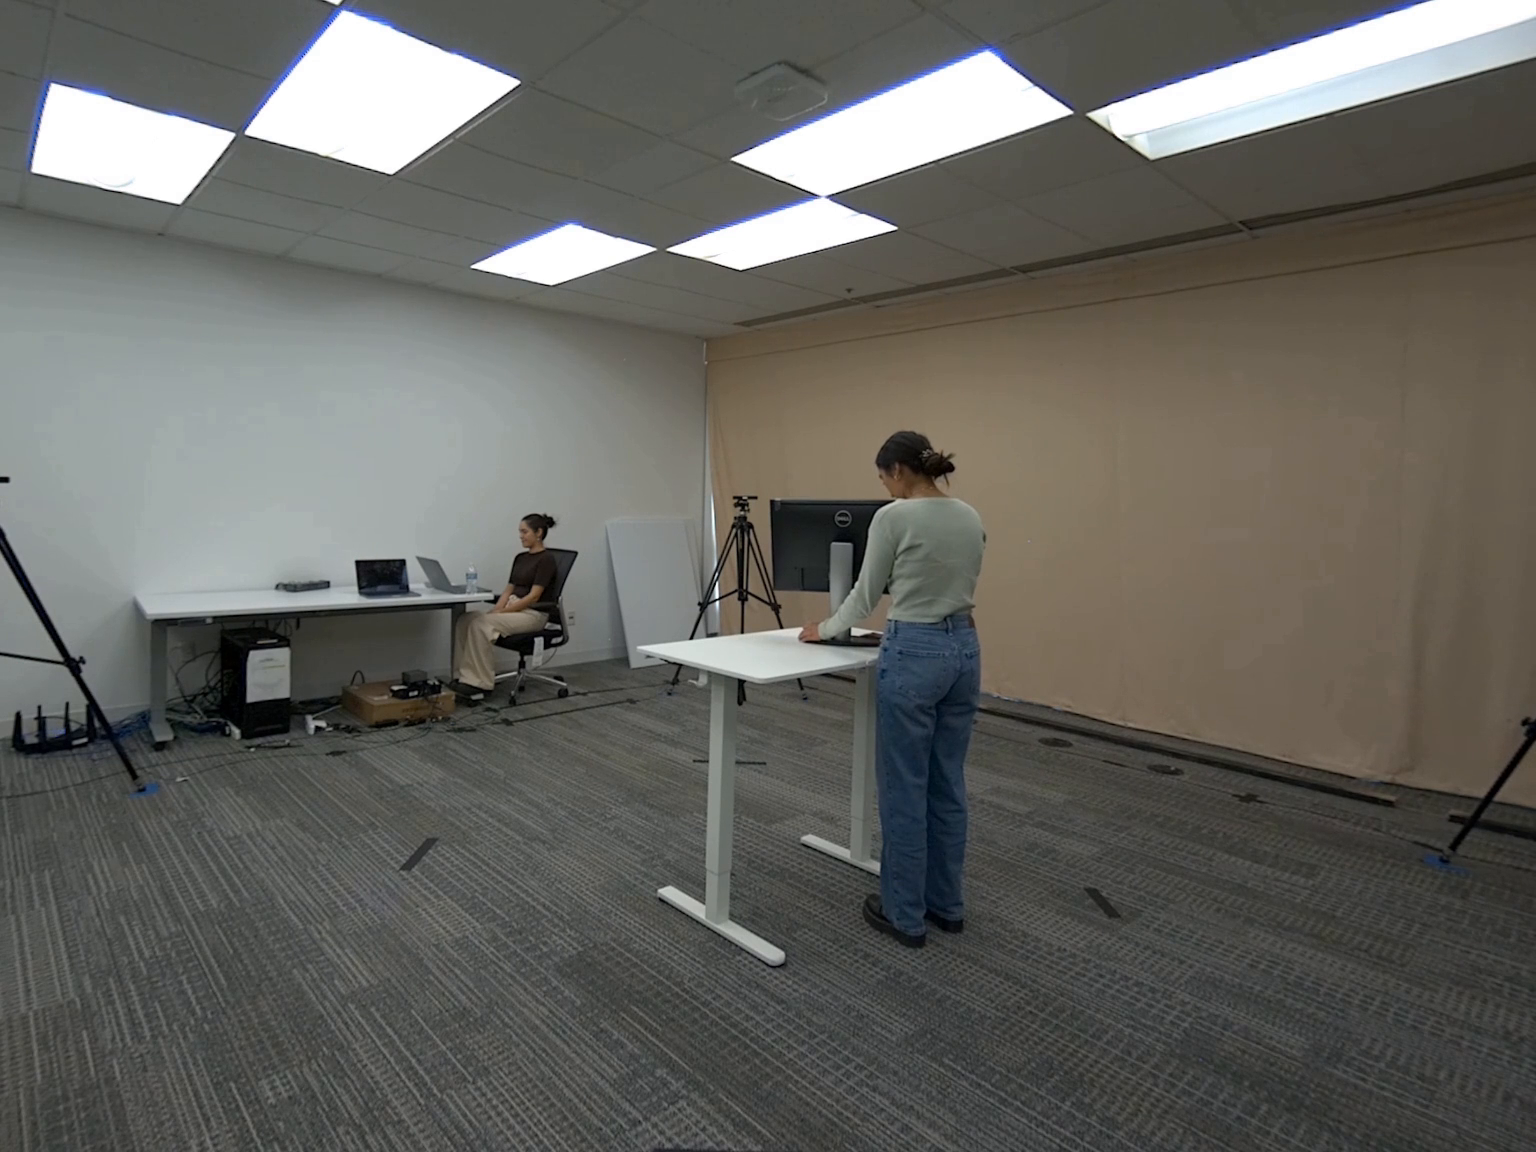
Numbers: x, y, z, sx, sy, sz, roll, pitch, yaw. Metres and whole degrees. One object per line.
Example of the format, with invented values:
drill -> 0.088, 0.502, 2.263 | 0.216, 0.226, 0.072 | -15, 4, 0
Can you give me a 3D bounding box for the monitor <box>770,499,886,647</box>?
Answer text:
monitor -> 0.266, -0.015, 3.011 | 0.536, 0.516, 0.172 | 1, -1, 13
